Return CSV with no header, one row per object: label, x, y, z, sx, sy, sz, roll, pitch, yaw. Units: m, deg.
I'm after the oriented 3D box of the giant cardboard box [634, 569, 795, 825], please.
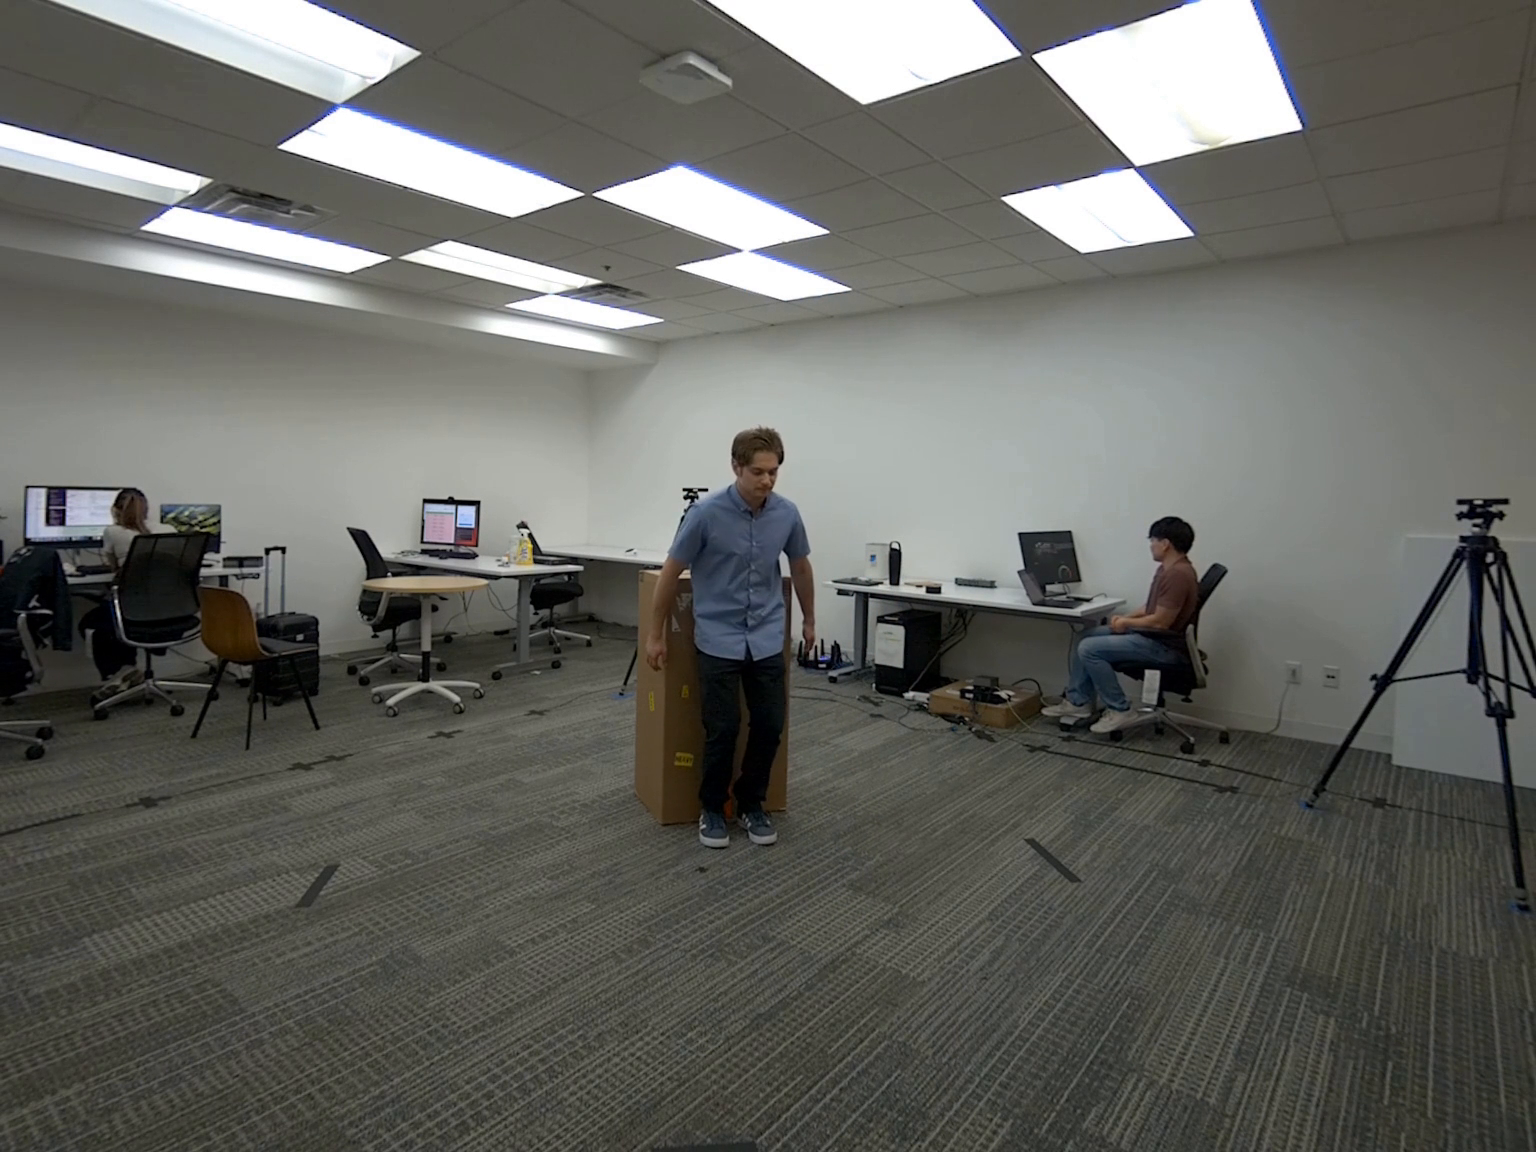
giant cardboard box,-0.264,0.499,3.781,0.571,1.025,0.458,0,2,-23
